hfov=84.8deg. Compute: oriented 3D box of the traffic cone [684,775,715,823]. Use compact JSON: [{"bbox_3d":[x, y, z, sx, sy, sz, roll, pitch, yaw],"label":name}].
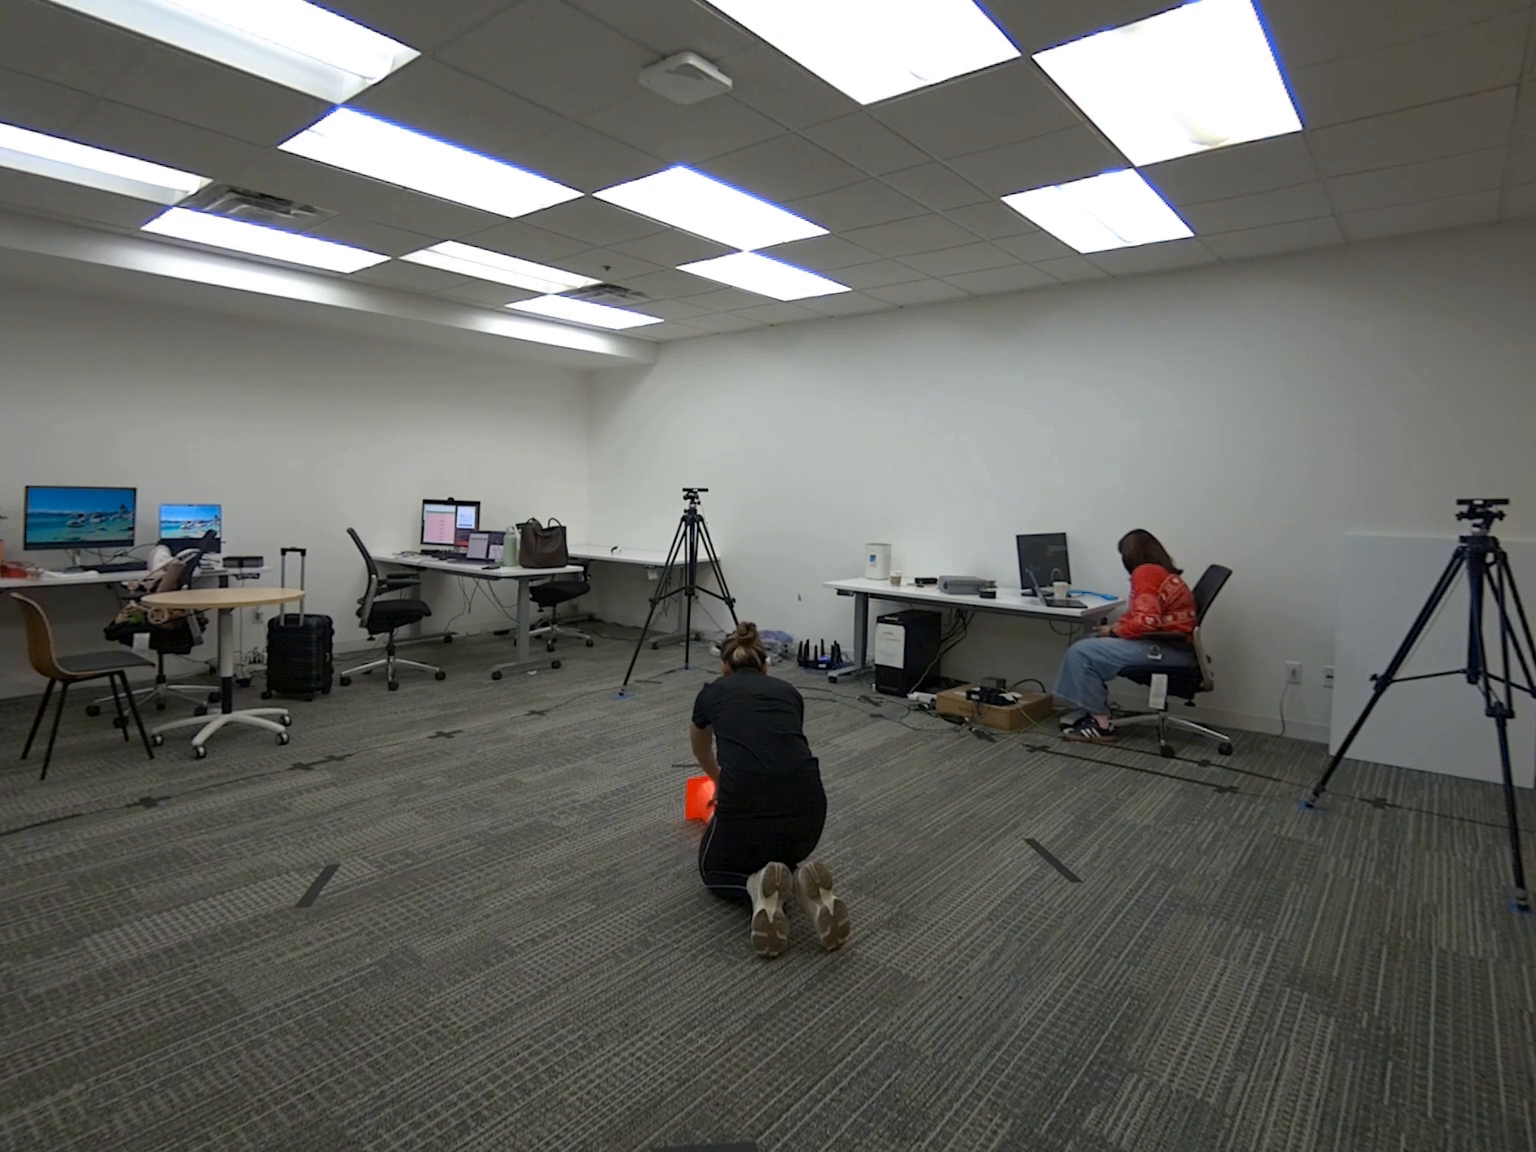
[{"bbox_3d":[-0.195,0.987,3.415,0.201,0.201,0.397,1,18,-21],"label":"traffic cone"}]
